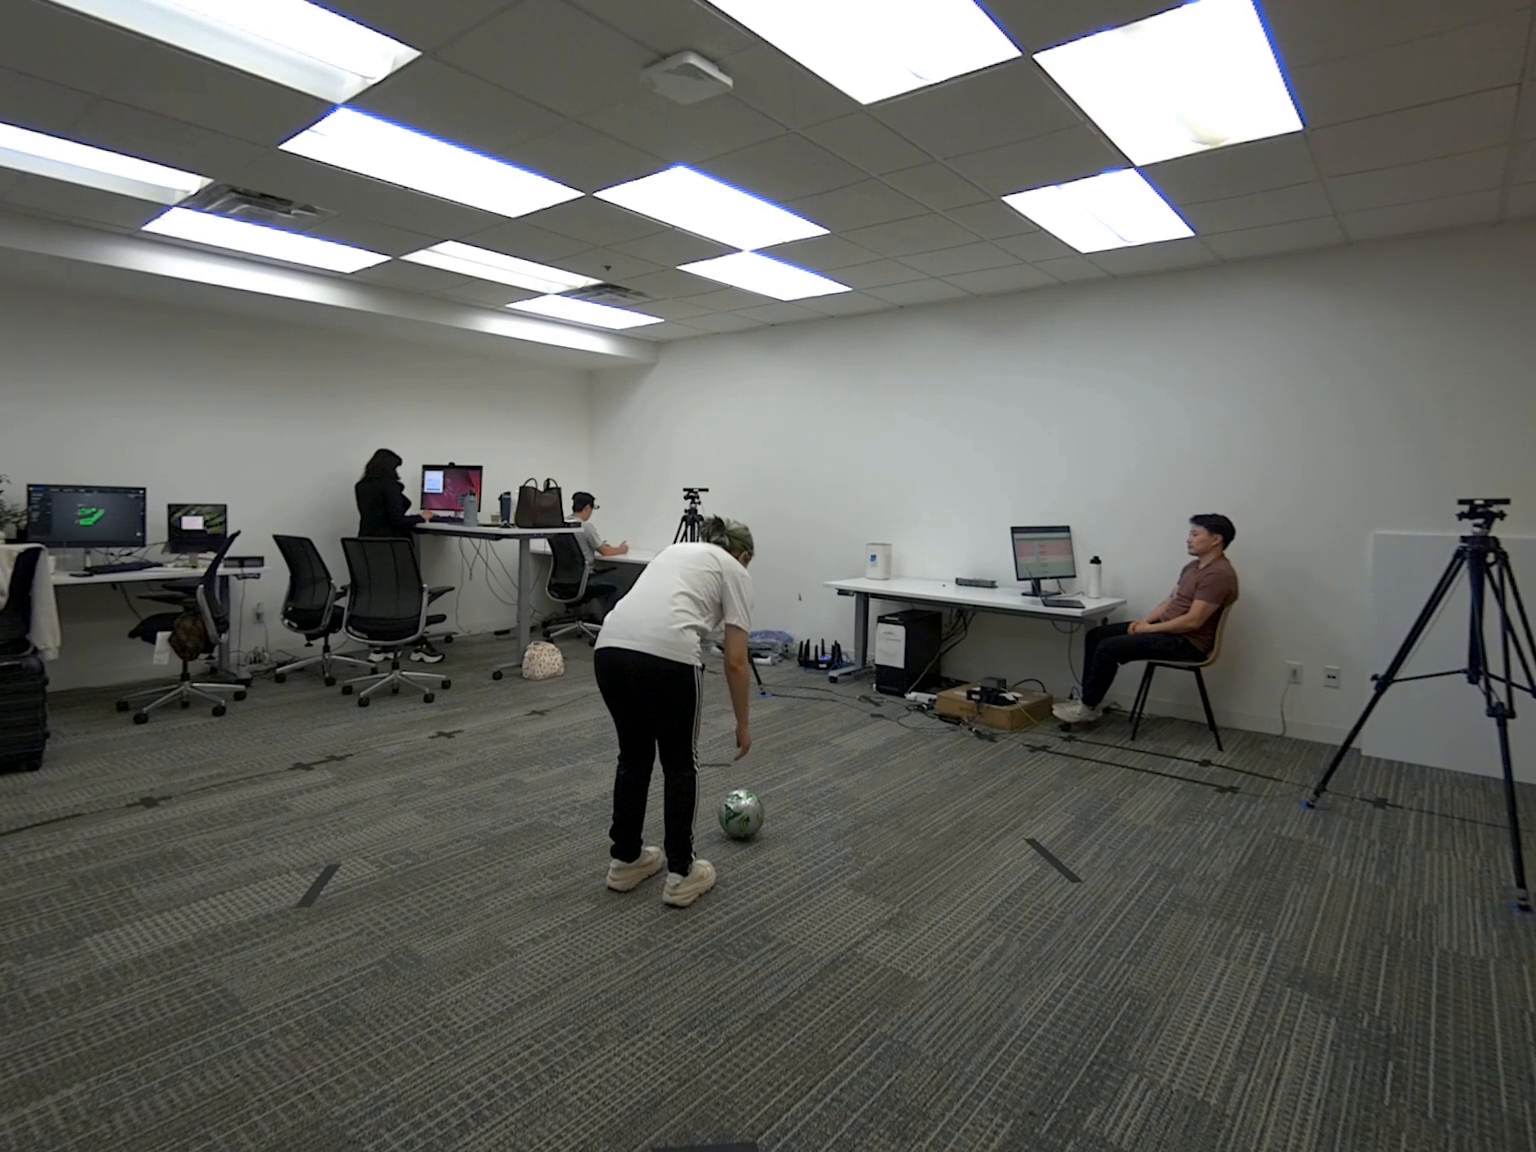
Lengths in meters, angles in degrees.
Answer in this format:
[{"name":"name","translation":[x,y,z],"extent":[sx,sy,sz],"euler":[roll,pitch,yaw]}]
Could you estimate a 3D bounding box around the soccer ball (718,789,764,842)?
[{"name":"soccer ball","translation":[-0.114,0.949,3.401],"extent":[0.187,0.187,0.188],"euler":[1,4,-2]}]
